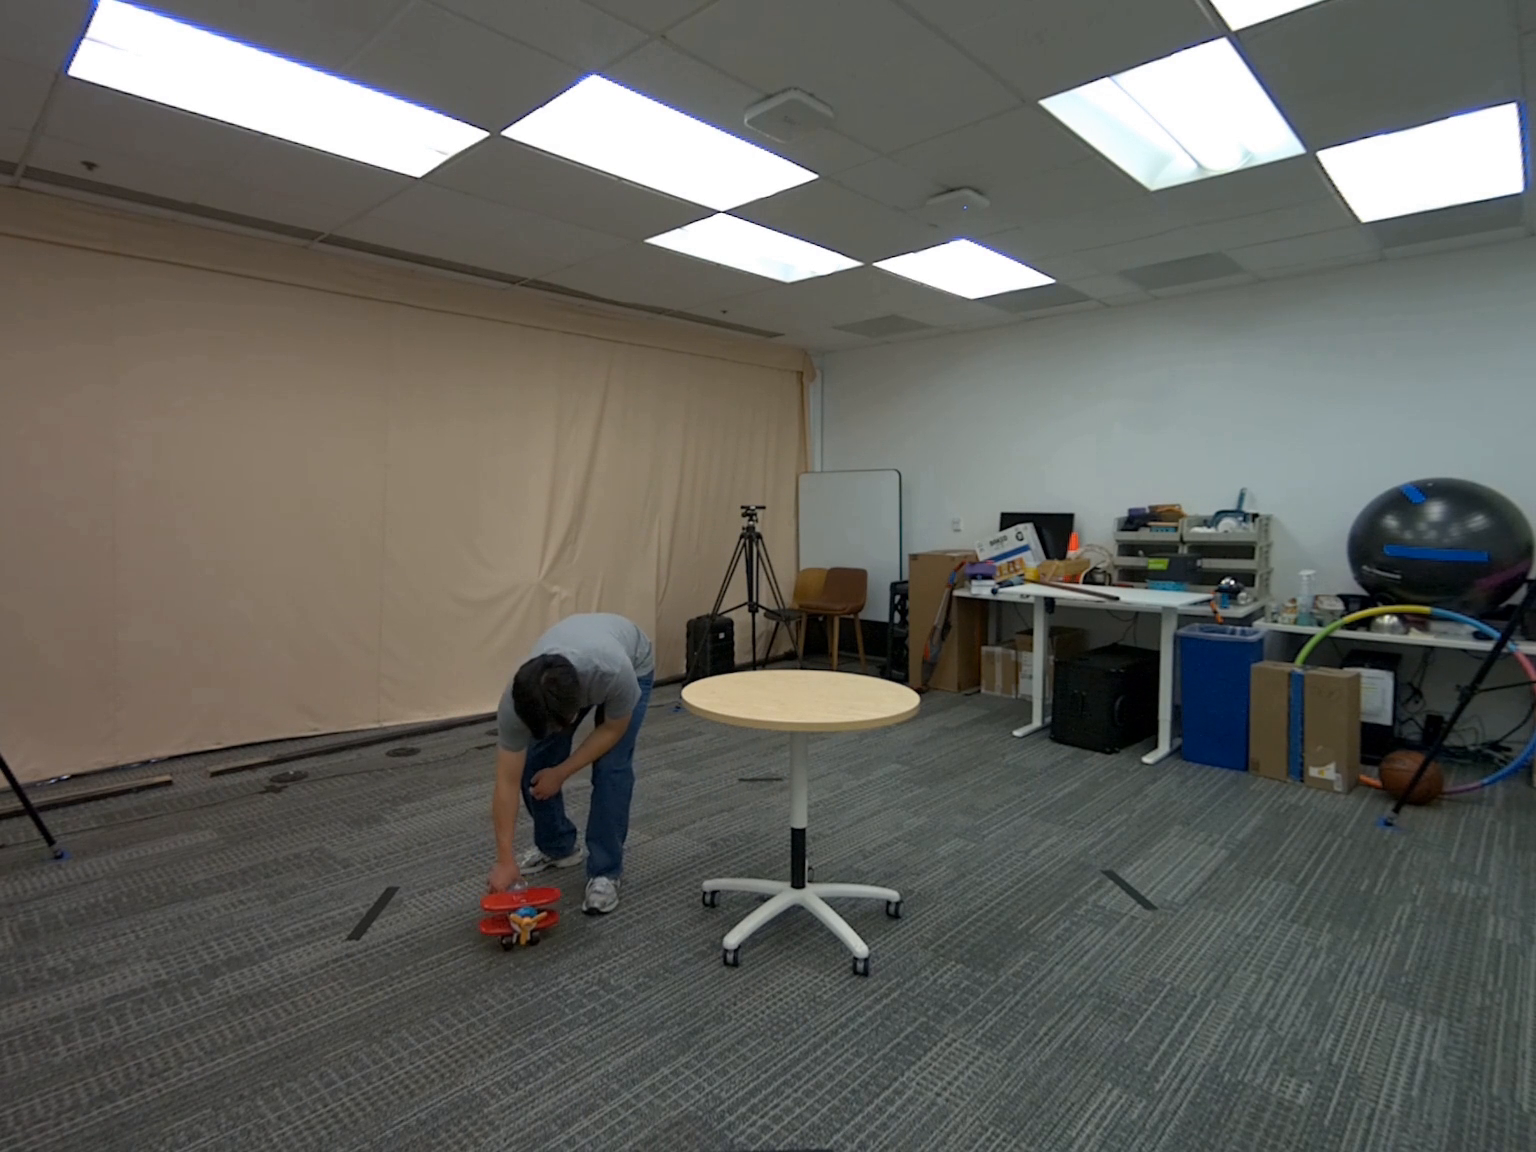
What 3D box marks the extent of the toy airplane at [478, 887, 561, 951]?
[{"bbox_3d":[-0.823,1.074,2.702,0.268,0.155,0.245,27,25,29],"label":"toy airplane"}]
